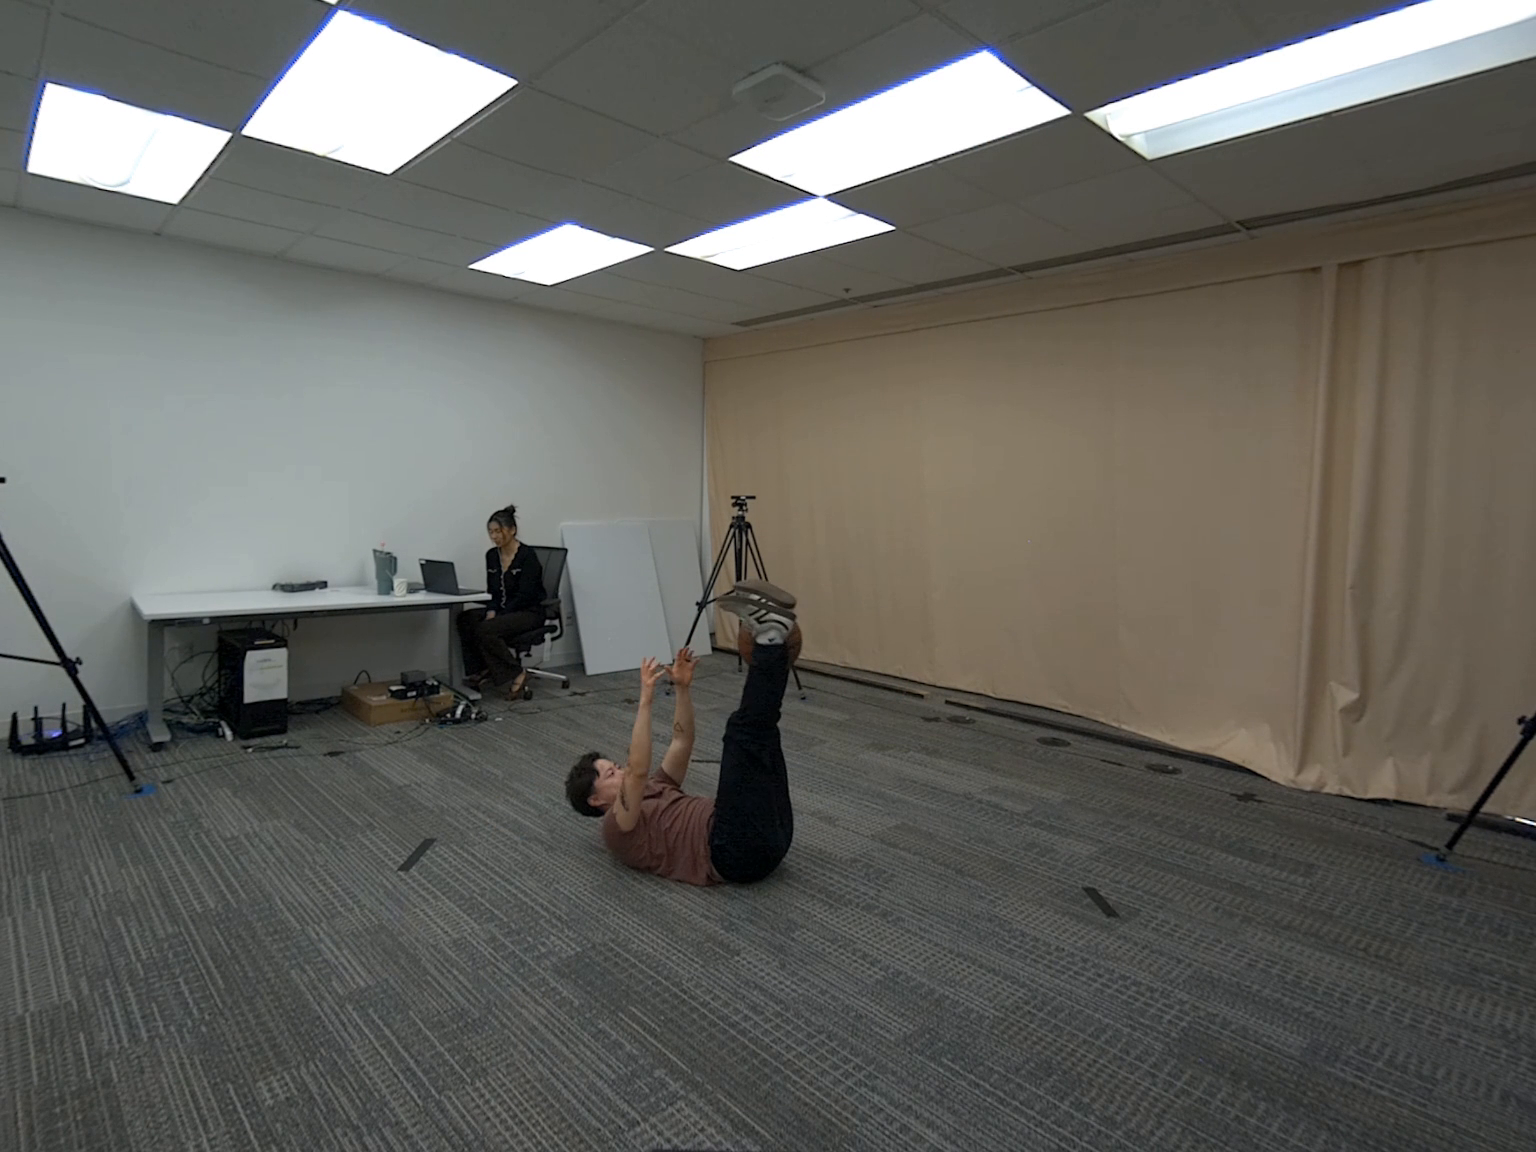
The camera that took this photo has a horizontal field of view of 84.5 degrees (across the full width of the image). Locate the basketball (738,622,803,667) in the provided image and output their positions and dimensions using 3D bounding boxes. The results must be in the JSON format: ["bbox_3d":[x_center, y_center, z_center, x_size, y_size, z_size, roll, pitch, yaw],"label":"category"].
[{"bbox_3d":[0.007,0.242,3.059,0.236,0.234,0.237,0,8,-1],"label":"basketball"}]
